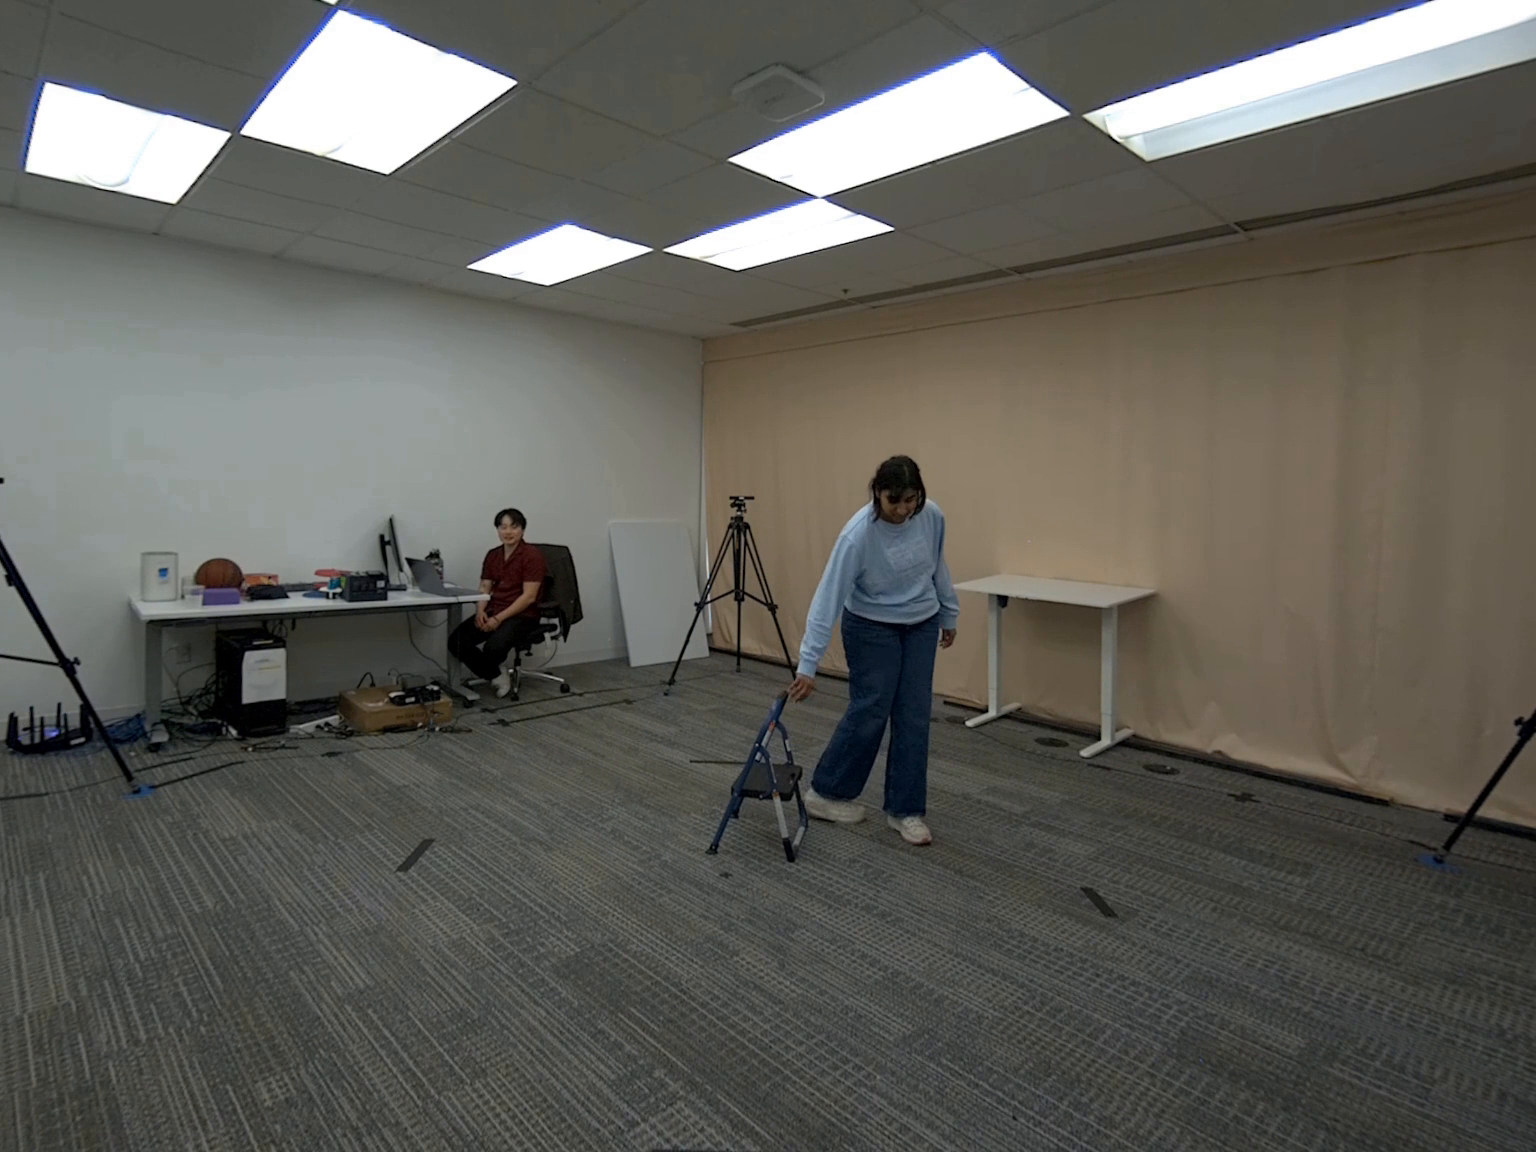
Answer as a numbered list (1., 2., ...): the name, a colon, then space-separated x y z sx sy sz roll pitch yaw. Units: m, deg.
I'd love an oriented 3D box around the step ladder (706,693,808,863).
1. step ladder: -0.028 0.776 3.439 0.353 0.604 0.427 2 4 11
